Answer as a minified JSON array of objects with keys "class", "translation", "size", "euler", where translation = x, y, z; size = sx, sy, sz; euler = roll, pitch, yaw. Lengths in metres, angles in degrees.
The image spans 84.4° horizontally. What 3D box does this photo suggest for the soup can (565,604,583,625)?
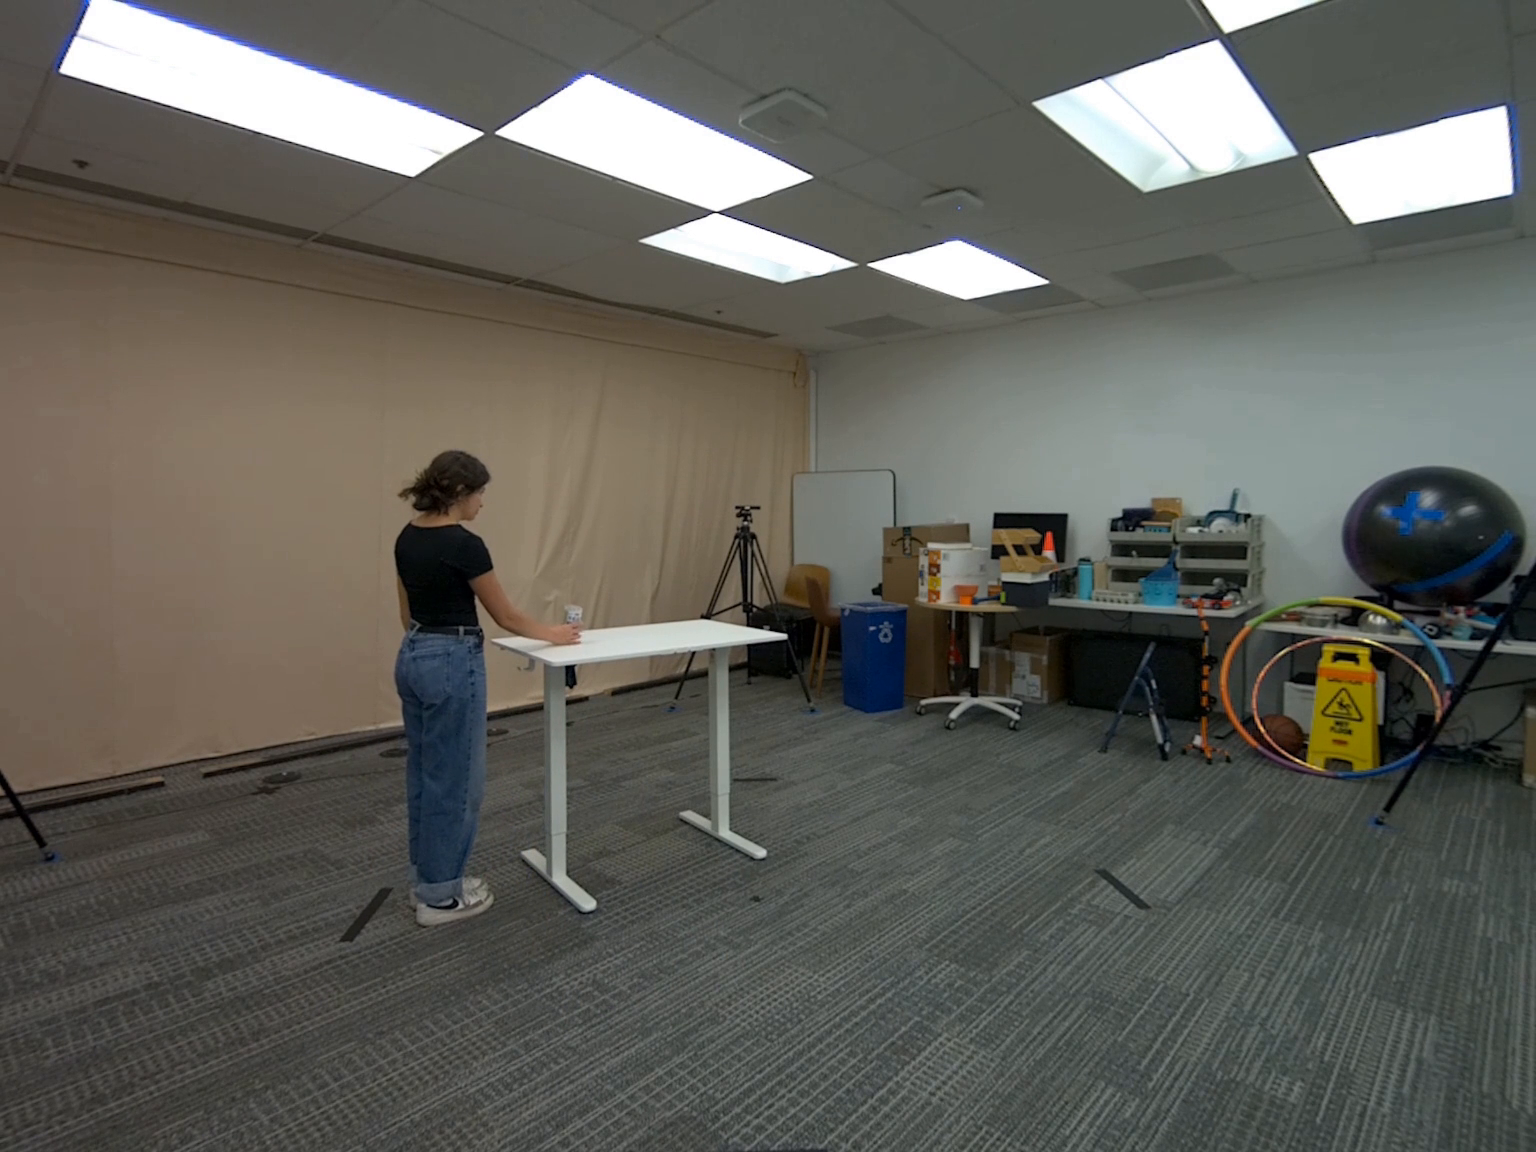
[{"class":"soup can","translation":[-0.730,0.173,3.169],"size":[0.067,0.121,0.067],"euler":[4,6,-2]}]
